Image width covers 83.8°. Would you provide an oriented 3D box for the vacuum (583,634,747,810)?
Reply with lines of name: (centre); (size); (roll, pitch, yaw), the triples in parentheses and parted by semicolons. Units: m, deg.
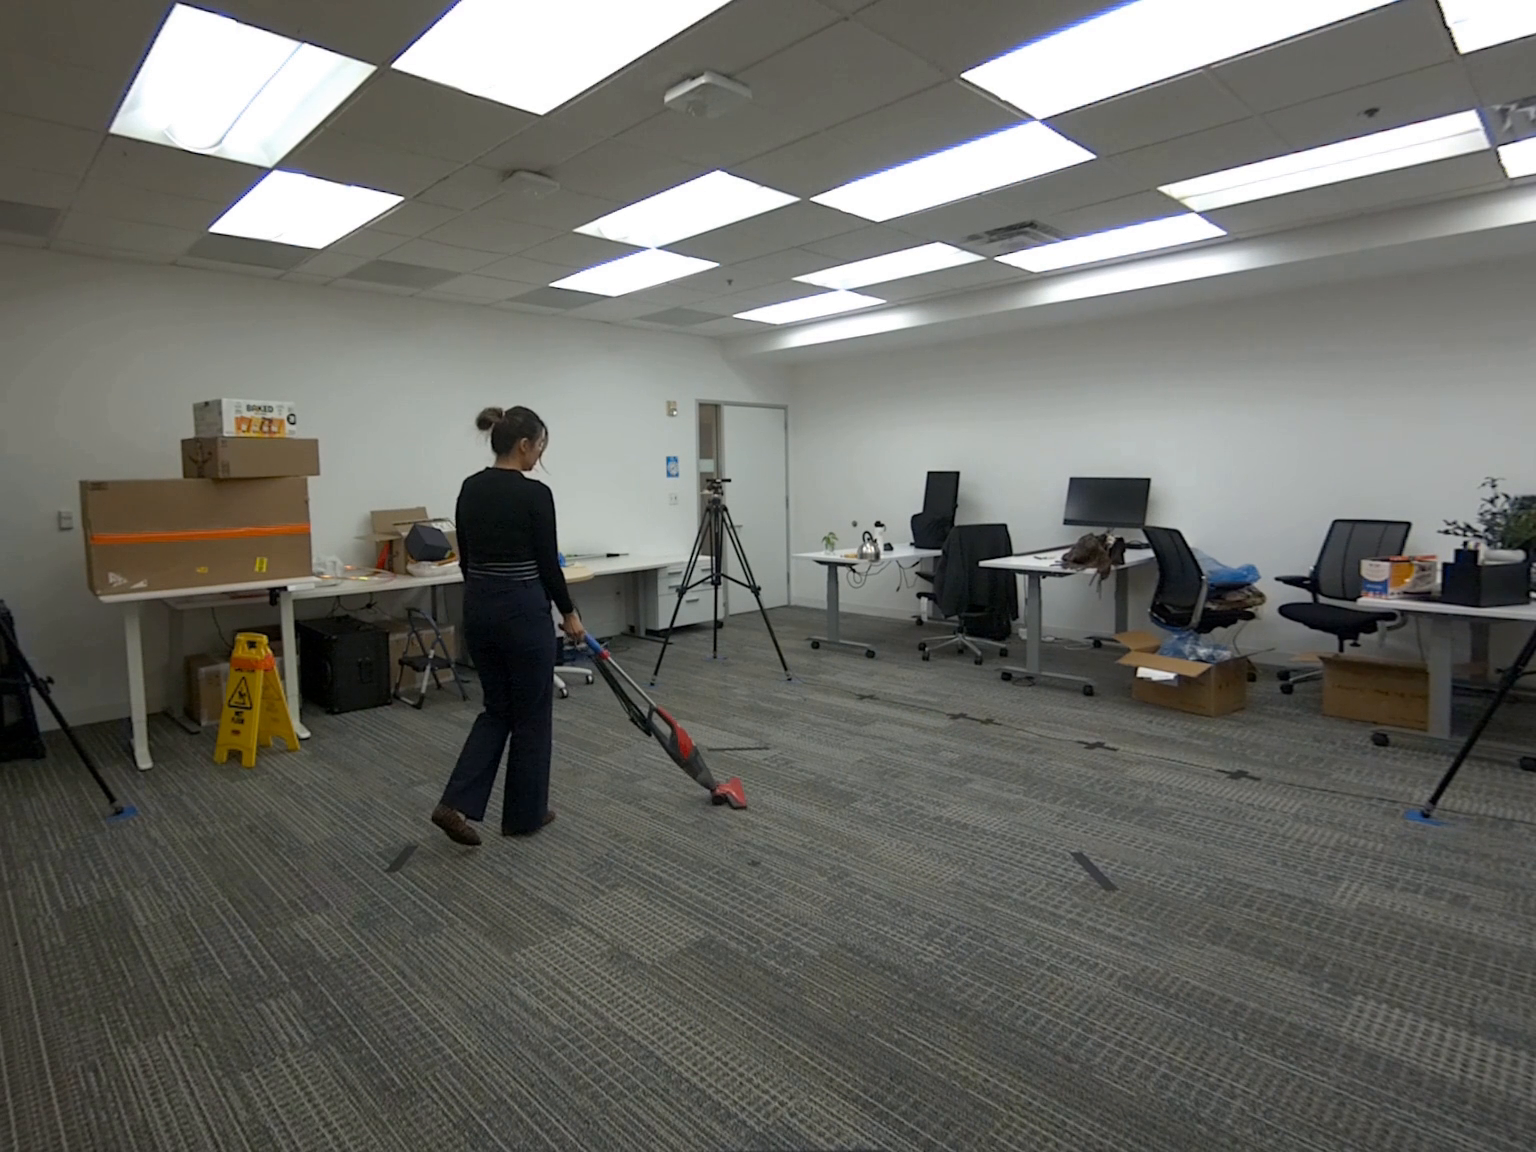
vacuum: (-0.502, 0.586, 3.620); (0.144, 1.032, 0.257); (-42, 12, -2)
